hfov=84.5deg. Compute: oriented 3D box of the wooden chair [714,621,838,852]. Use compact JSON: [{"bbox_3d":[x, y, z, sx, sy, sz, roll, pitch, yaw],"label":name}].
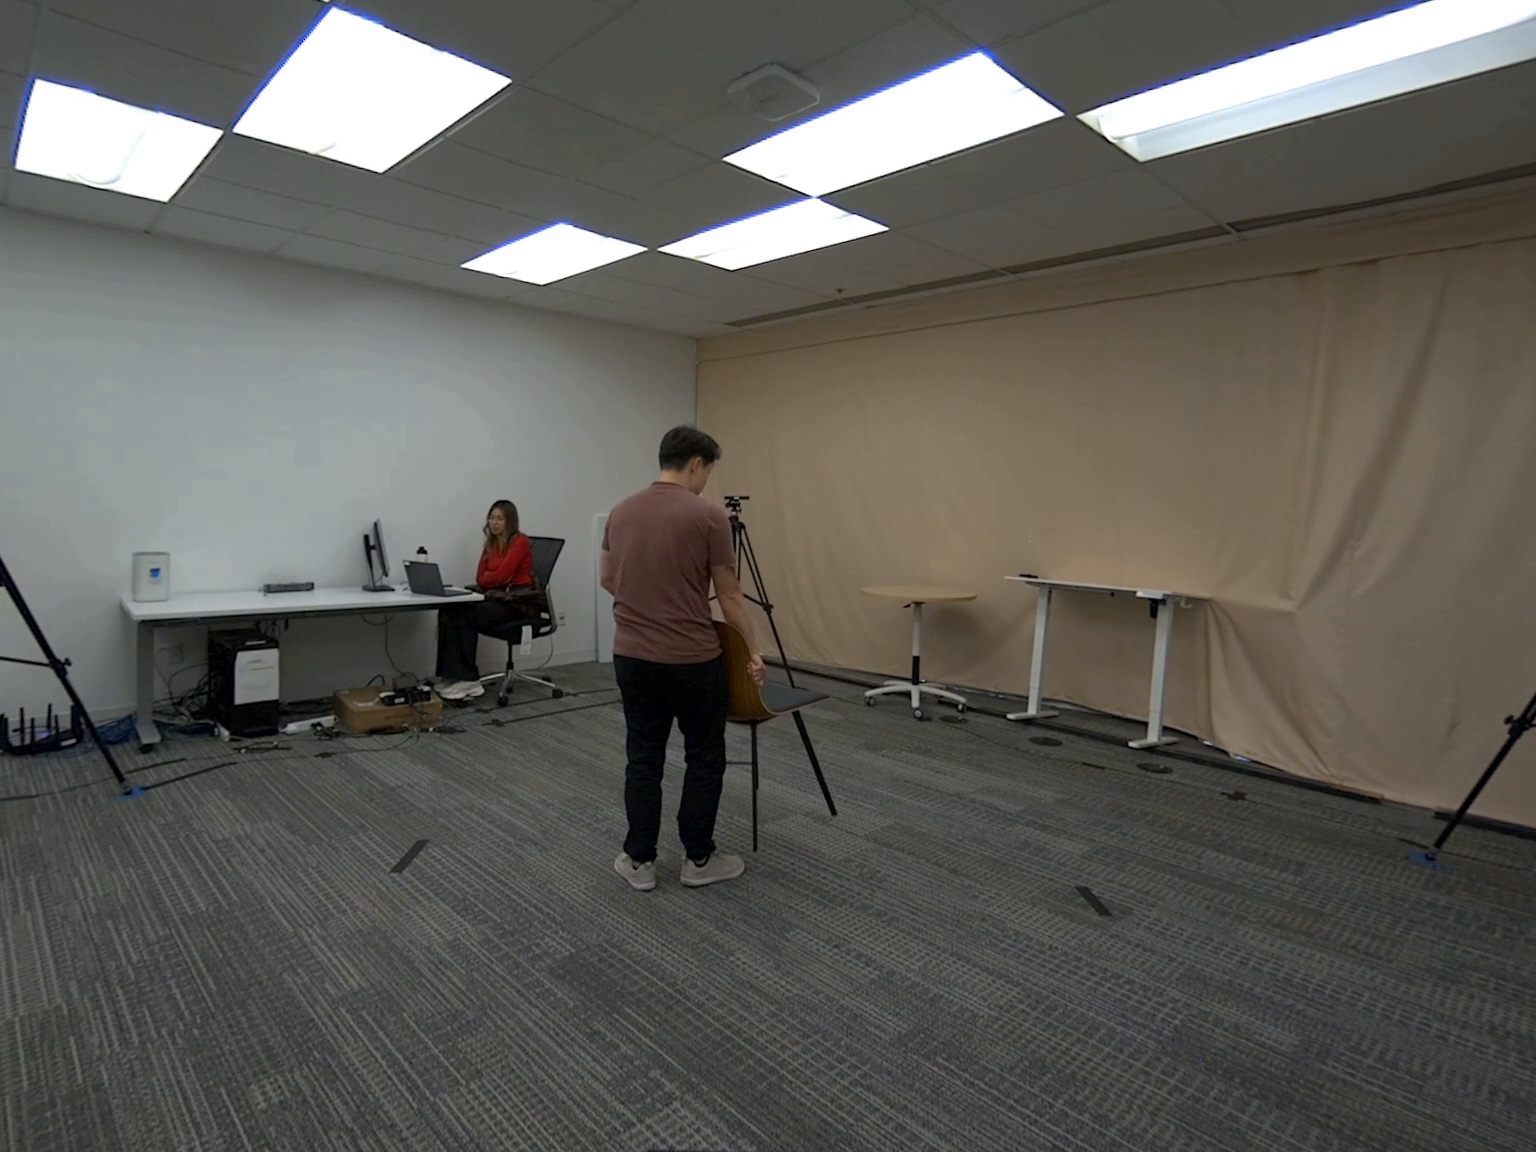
[{"bbox_3d":[-0.064,0.539,3.306,0.513,0.872,0.490,-12,9,-43],"label":"wooden chair"}]
